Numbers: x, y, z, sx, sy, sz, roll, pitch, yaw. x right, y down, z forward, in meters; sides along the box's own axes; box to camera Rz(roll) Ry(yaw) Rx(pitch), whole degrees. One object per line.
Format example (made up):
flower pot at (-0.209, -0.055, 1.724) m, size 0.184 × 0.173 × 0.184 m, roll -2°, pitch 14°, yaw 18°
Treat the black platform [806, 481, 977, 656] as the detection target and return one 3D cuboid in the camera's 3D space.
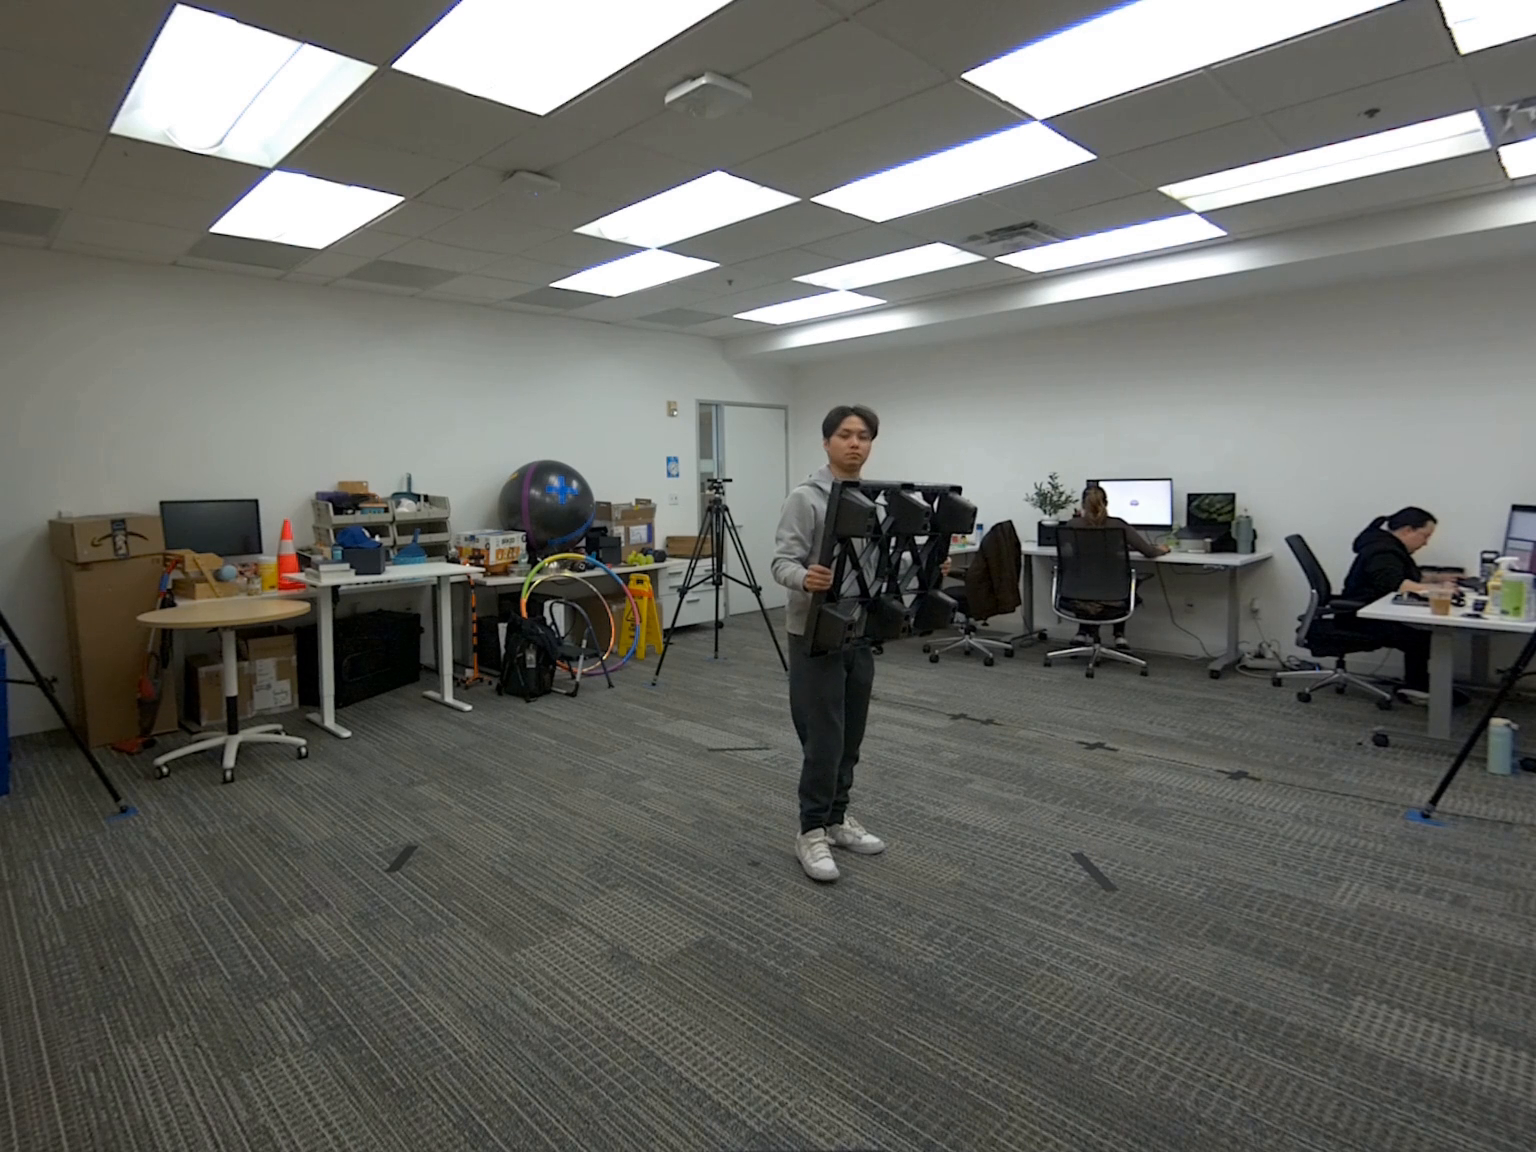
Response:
black platform at (0.451, -0.026, 3.007) m, size 0.148 × 0.600 × 0.784 m, roll 16°, pitch 13°, yaw 41°
